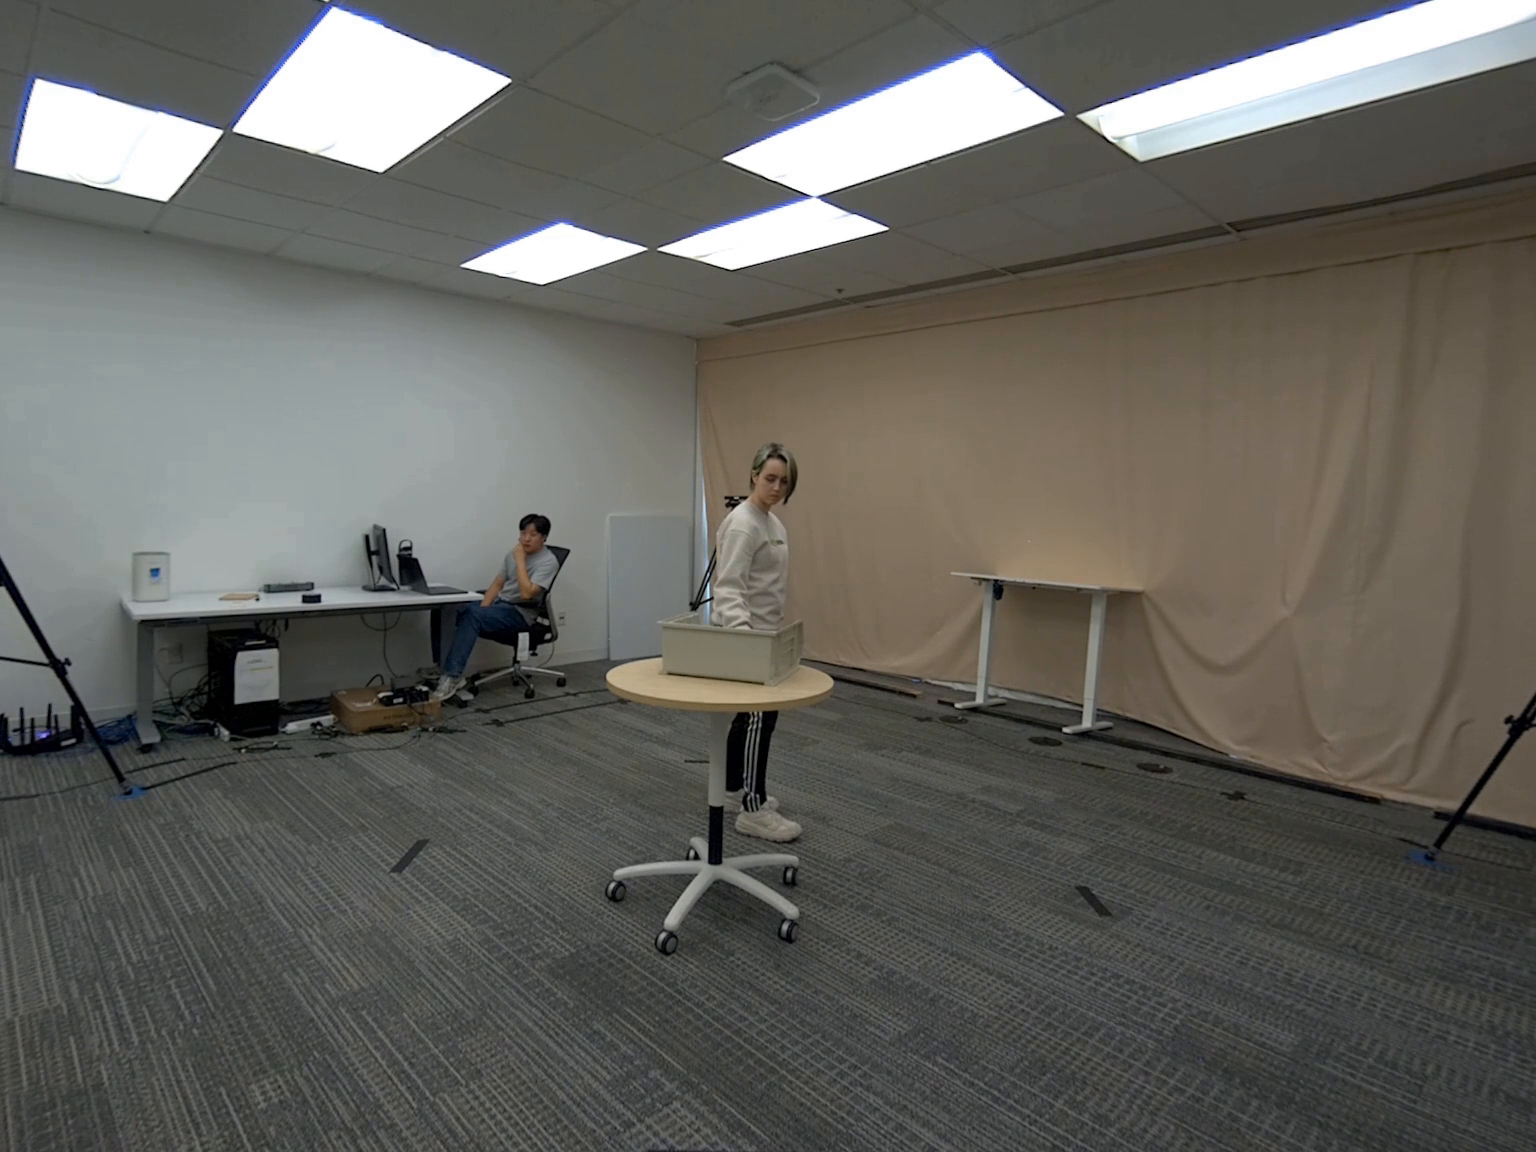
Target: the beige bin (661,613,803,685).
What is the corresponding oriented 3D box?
[{"bbox_3d":[-0.131,0.243,2.942,0.429,0.188,0.373,4,7,19],"label":"beige bin"}]
